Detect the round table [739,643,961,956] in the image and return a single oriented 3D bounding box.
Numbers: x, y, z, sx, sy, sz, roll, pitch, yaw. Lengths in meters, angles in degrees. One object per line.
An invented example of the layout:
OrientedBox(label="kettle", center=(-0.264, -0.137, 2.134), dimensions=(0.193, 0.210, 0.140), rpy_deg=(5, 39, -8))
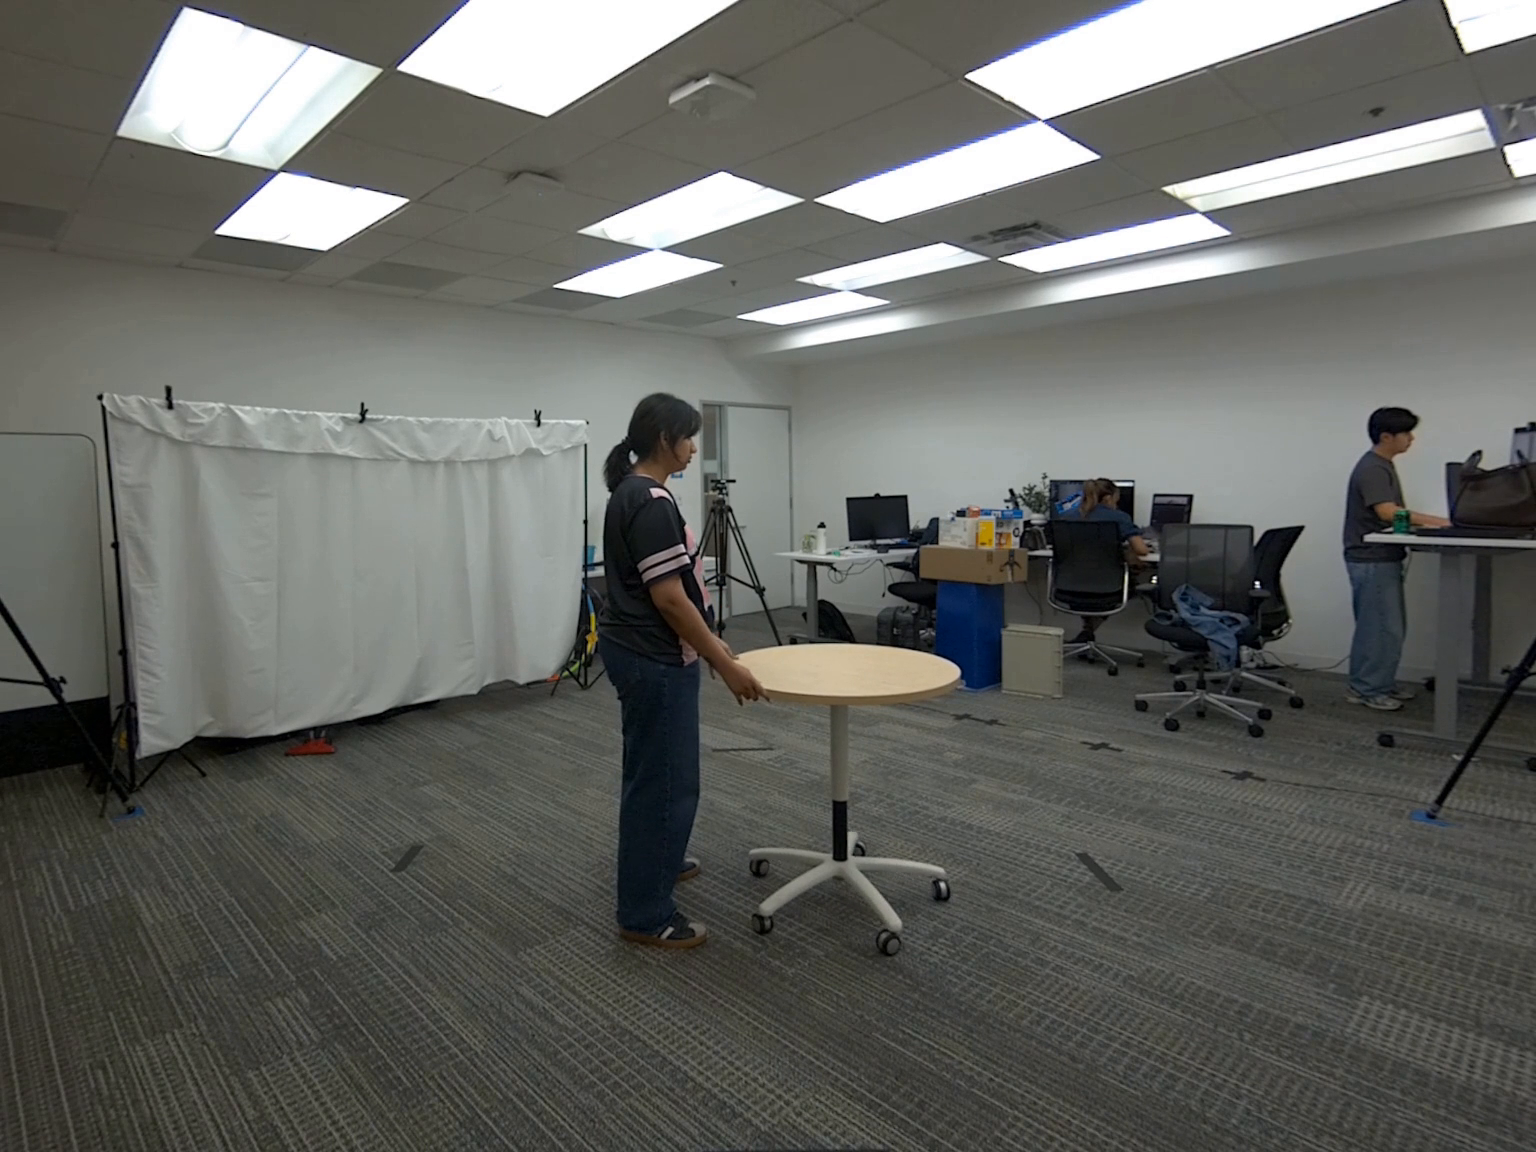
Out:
OrientedBox(label="round table", center=(0.238, 0.684, 2.812), dimensions=(0.763, 0.791, 0.768), rpy_deg=(-1, 5, -2))
